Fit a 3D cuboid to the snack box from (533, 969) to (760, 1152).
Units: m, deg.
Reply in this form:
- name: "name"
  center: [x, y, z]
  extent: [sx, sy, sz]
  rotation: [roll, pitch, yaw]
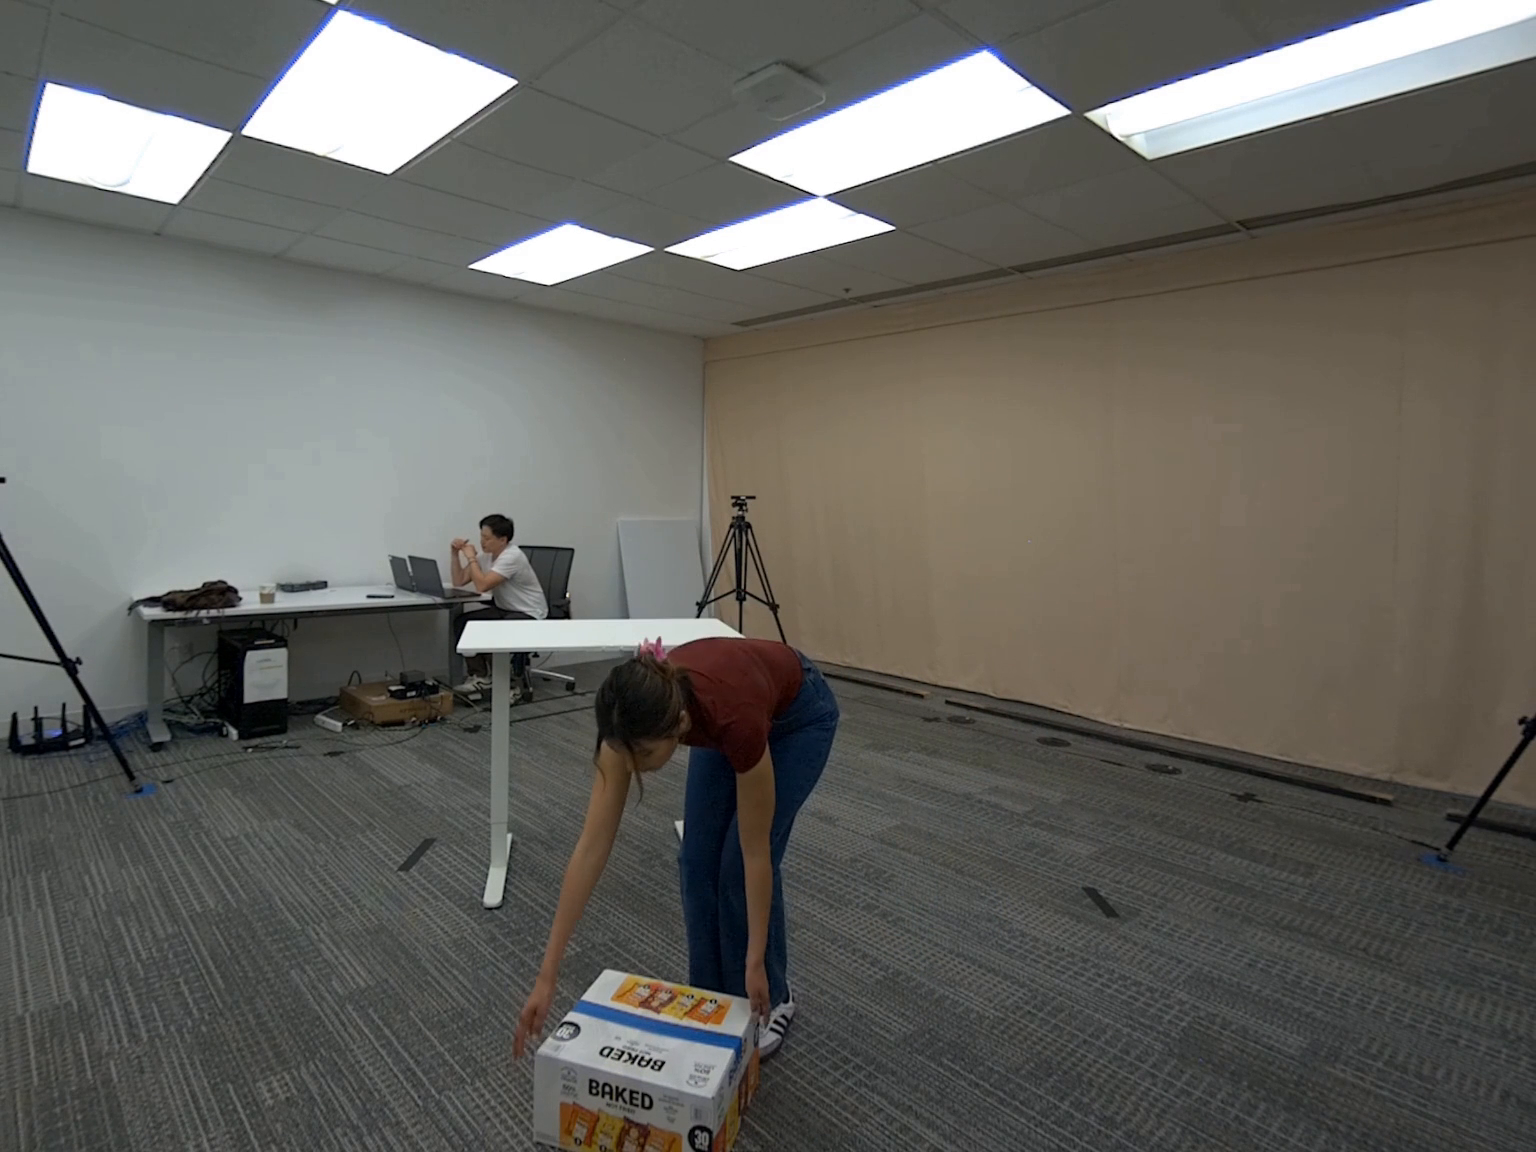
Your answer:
- name: "snack box"
  center: [-0.268, 1.118, 1.882]
  extent: [0.411, 0.205, 0.336]
  rotation: [4, 5, 16]
